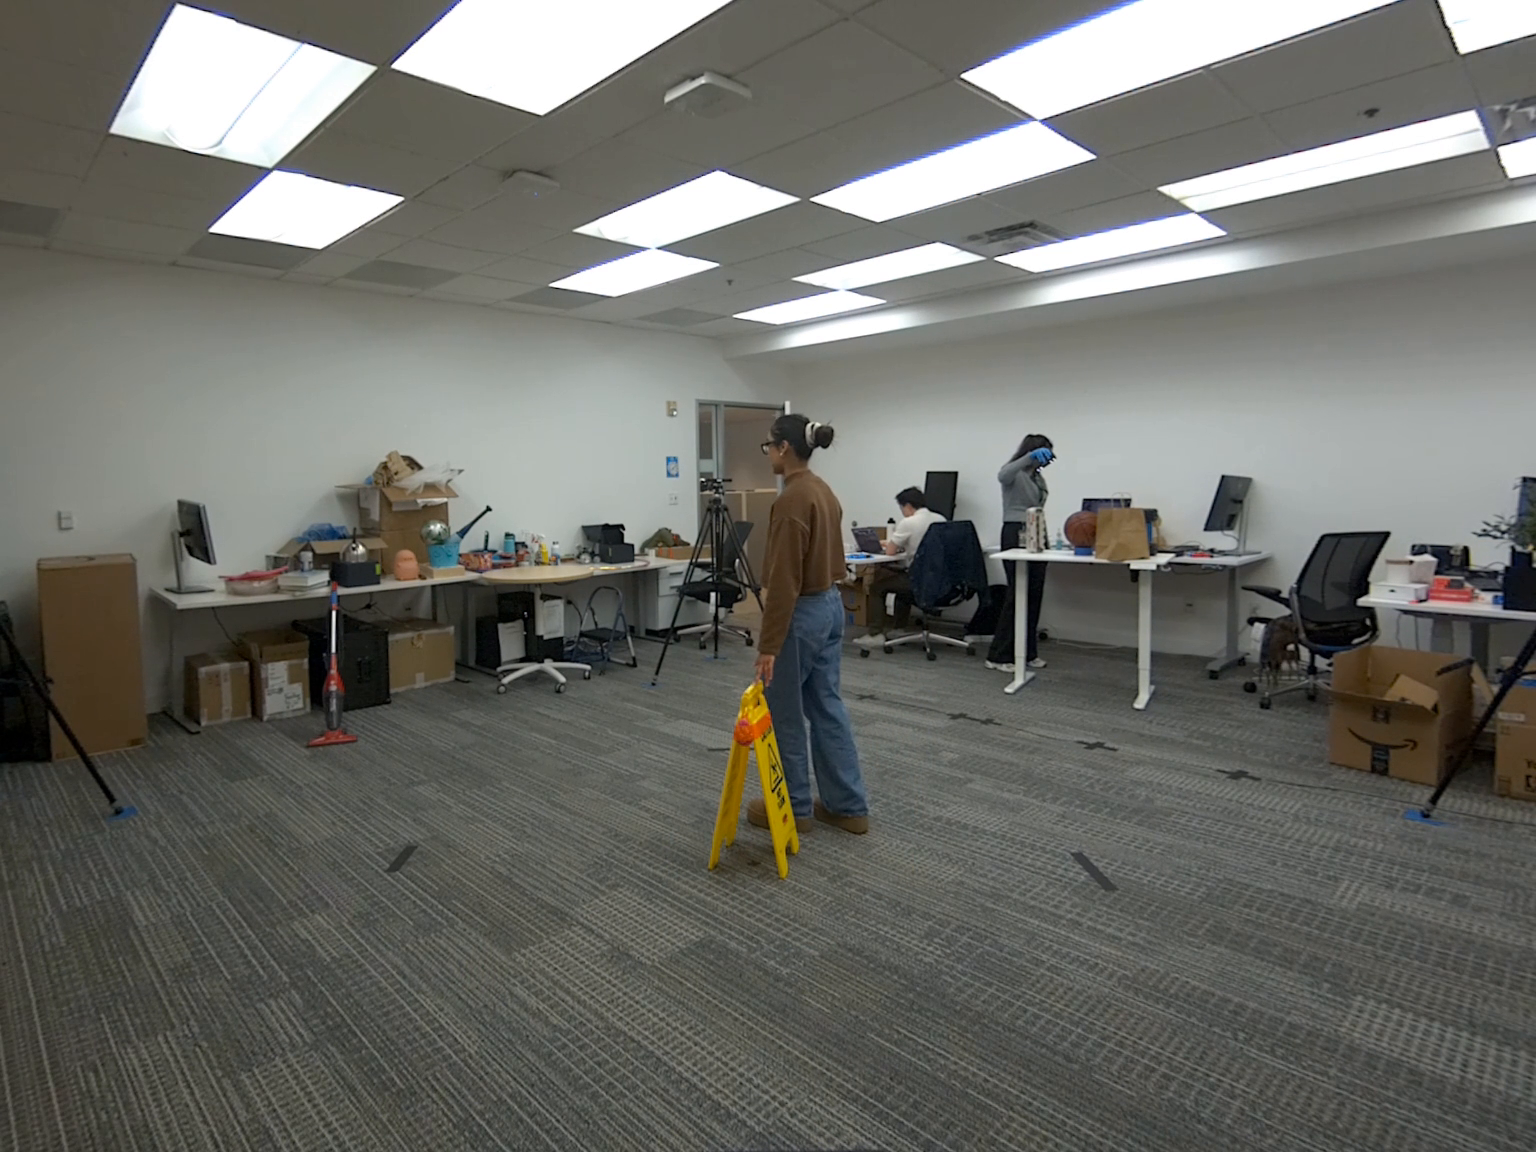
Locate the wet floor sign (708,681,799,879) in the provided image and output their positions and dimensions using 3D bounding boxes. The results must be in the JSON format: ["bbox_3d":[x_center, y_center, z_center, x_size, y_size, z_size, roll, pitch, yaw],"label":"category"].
[{"bbox_3d":[-0.054,0.719,3.124,0.294,0.645,0.278,-1,2,16],"label":"wet floor sign"}]
